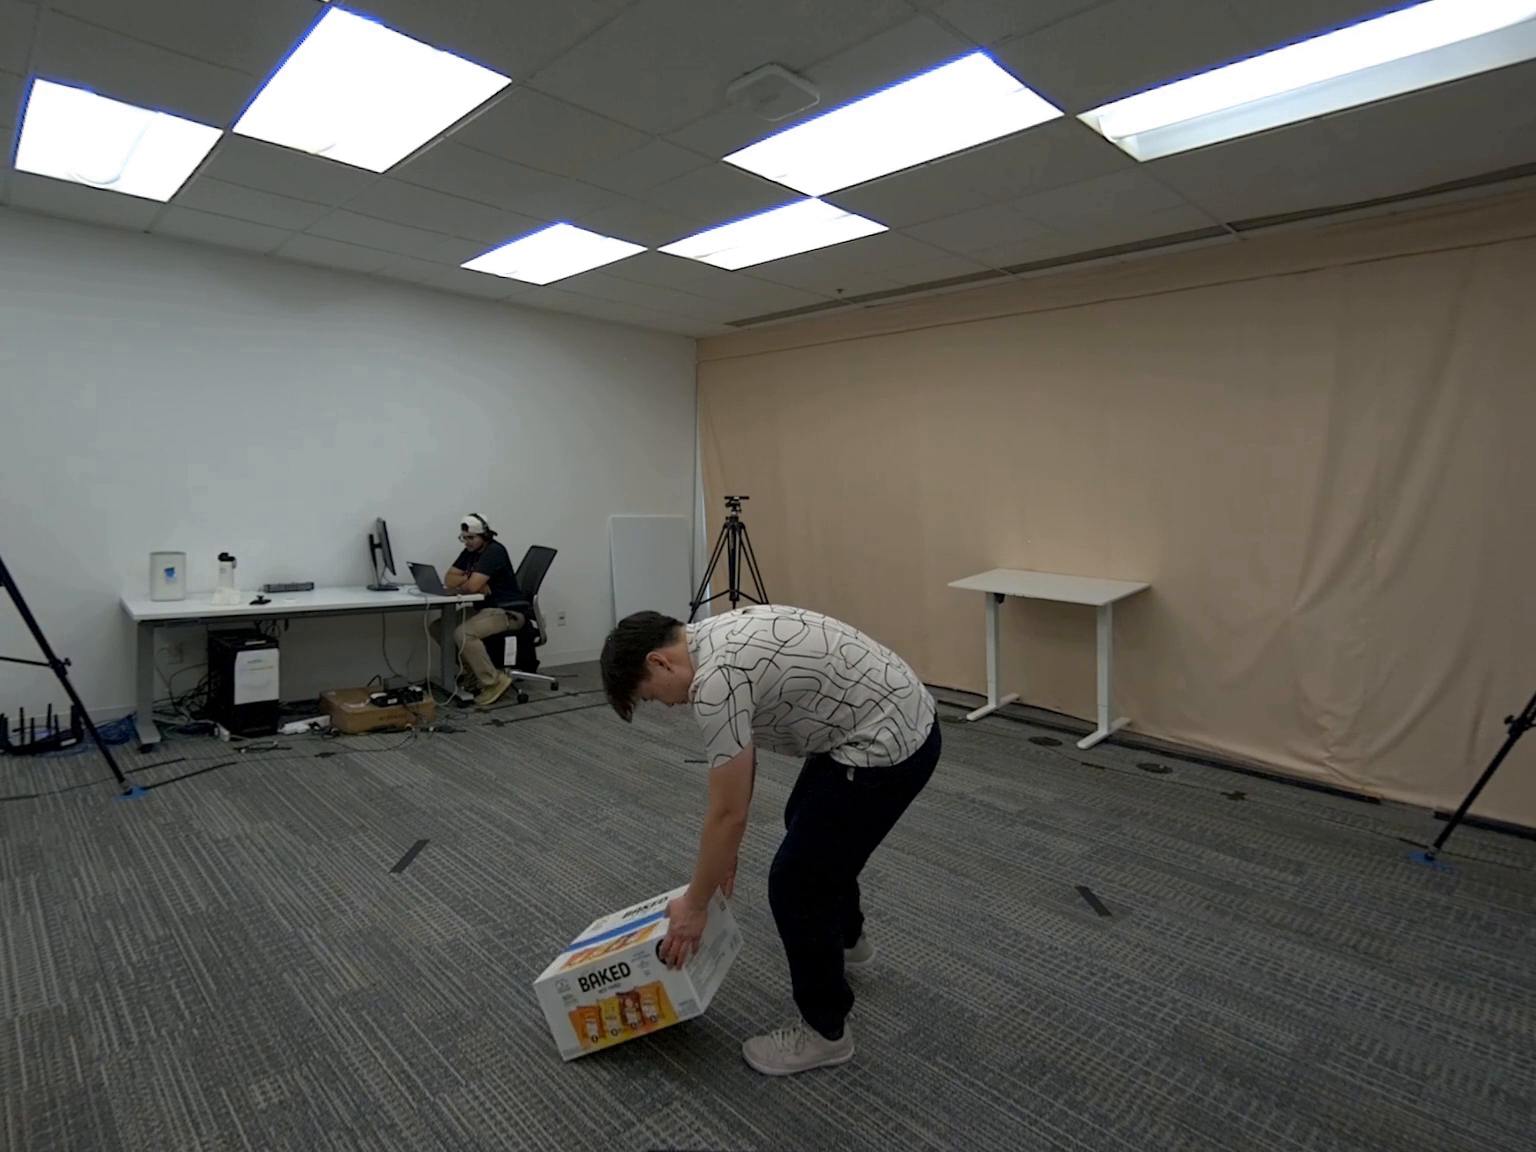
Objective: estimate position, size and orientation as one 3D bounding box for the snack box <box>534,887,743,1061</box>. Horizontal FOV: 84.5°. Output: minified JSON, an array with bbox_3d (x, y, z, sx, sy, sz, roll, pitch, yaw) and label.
[{"bbox_3d":[-0.327,1.002,2.173,0.407,0.207,0.337,-26,-4,16],"label":"snack box"}]
